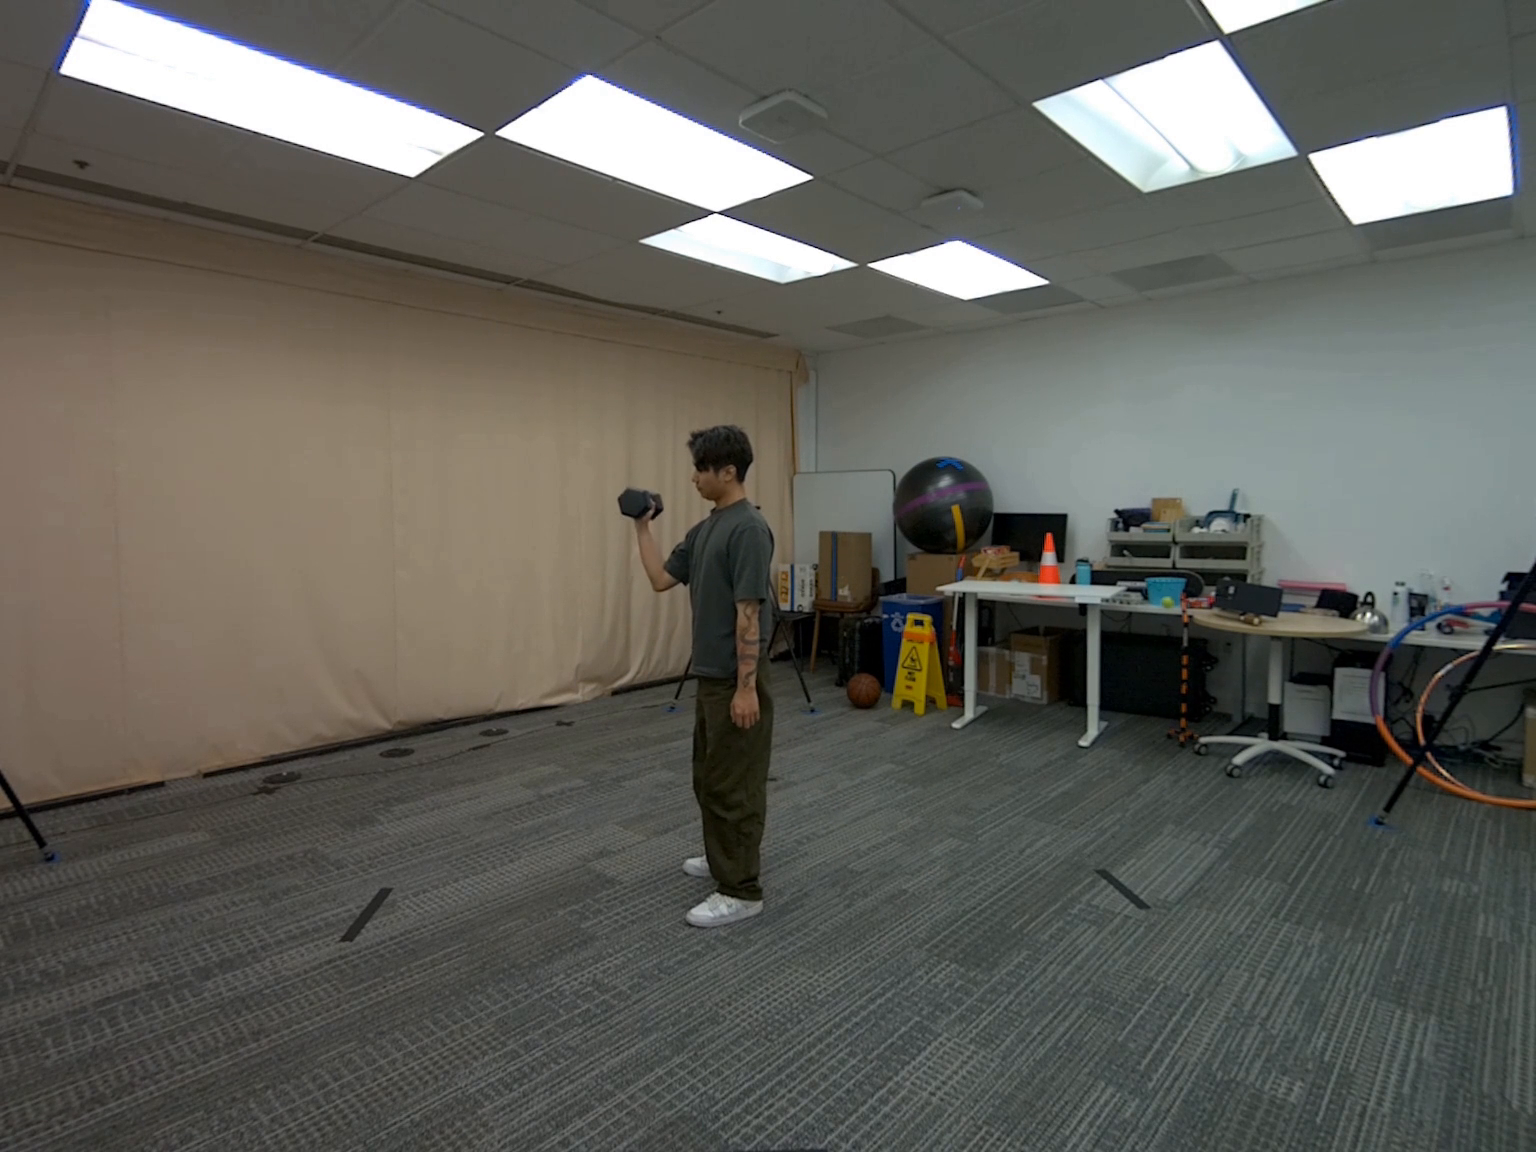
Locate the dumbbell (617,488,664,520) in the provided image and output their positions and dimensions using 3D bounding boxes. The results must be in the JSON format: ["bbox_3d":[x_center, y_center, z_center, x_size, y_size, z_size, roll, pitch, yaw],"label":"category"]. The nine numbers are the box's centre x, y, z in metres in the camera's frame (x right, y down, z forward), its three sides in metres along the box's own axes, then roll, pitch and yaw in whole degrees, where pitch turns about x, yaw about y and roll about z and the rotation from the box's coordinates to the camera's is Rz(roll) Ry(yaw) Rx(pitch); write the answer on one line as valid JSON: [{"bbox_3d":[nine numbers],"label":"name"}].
[{"bbox_3d":[-0.479,-0.267,3.174,0.123,0.109,0.291,-44,-2,5],"label":"dumbbell"}]
